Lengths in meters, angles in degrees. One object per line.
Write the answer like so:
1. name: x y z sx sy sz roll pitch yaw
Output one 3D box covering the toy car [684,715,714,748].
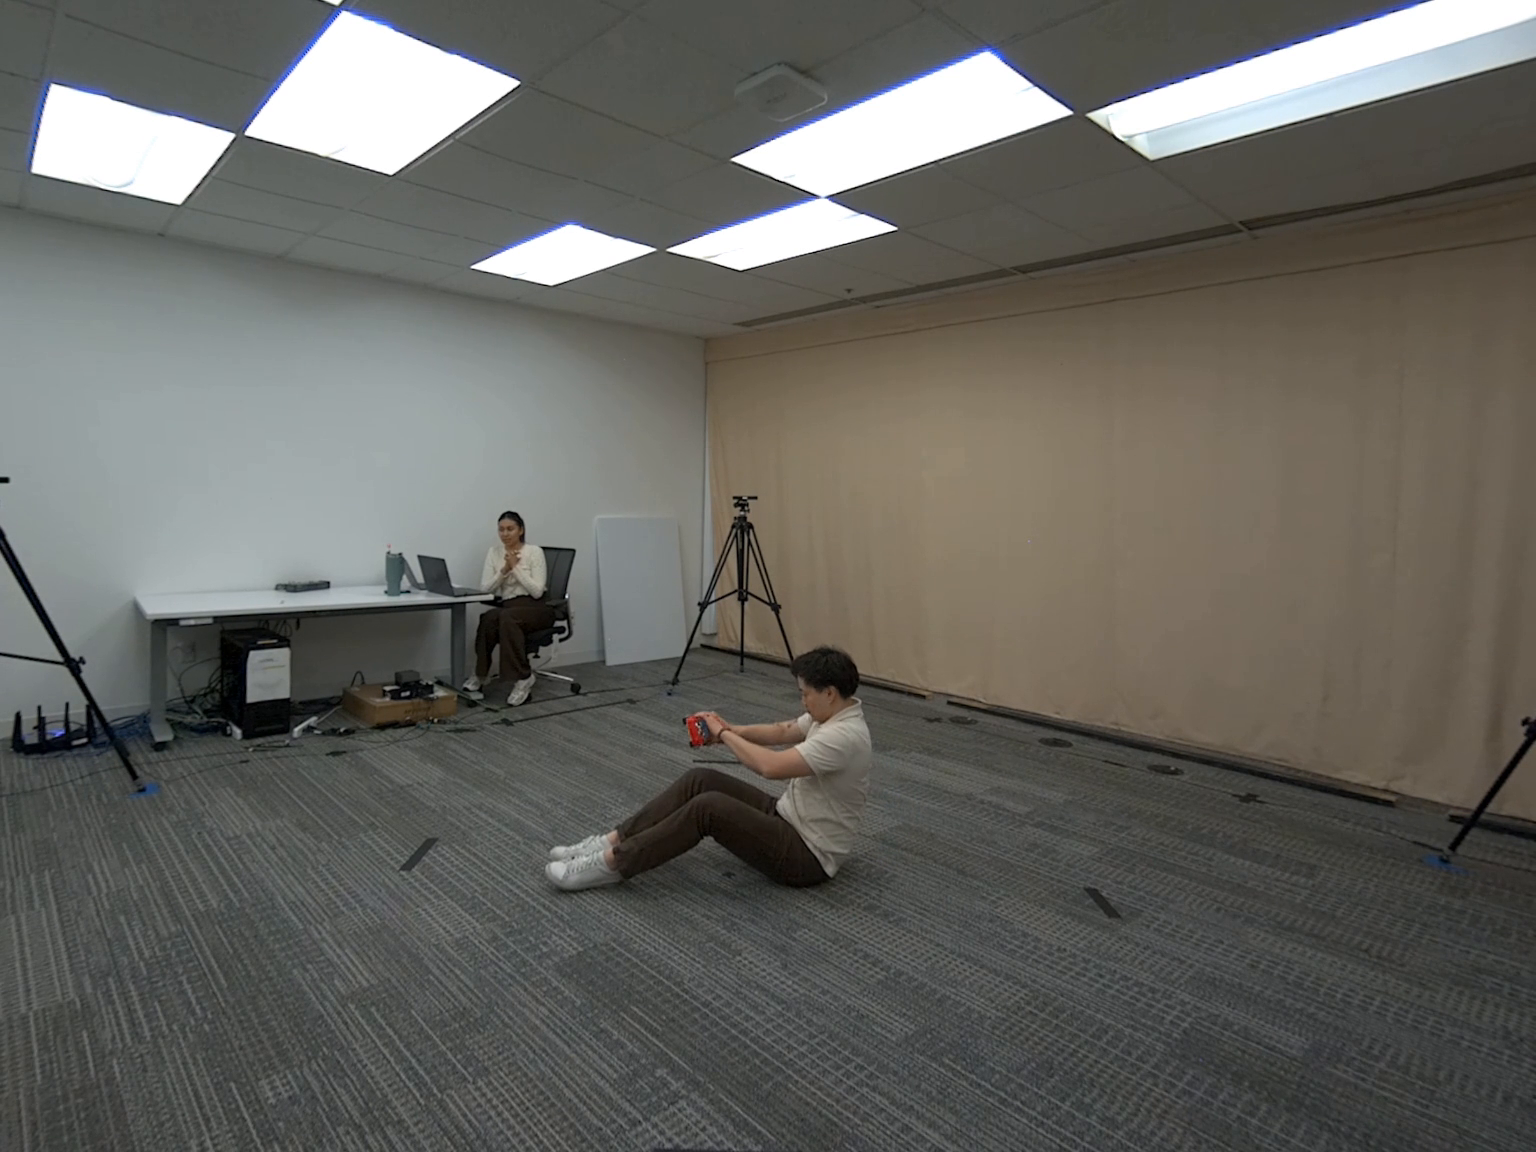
1. toy car: -0.239 0.585 3.160 0.084 0.132 0.249 -25 -14 24
